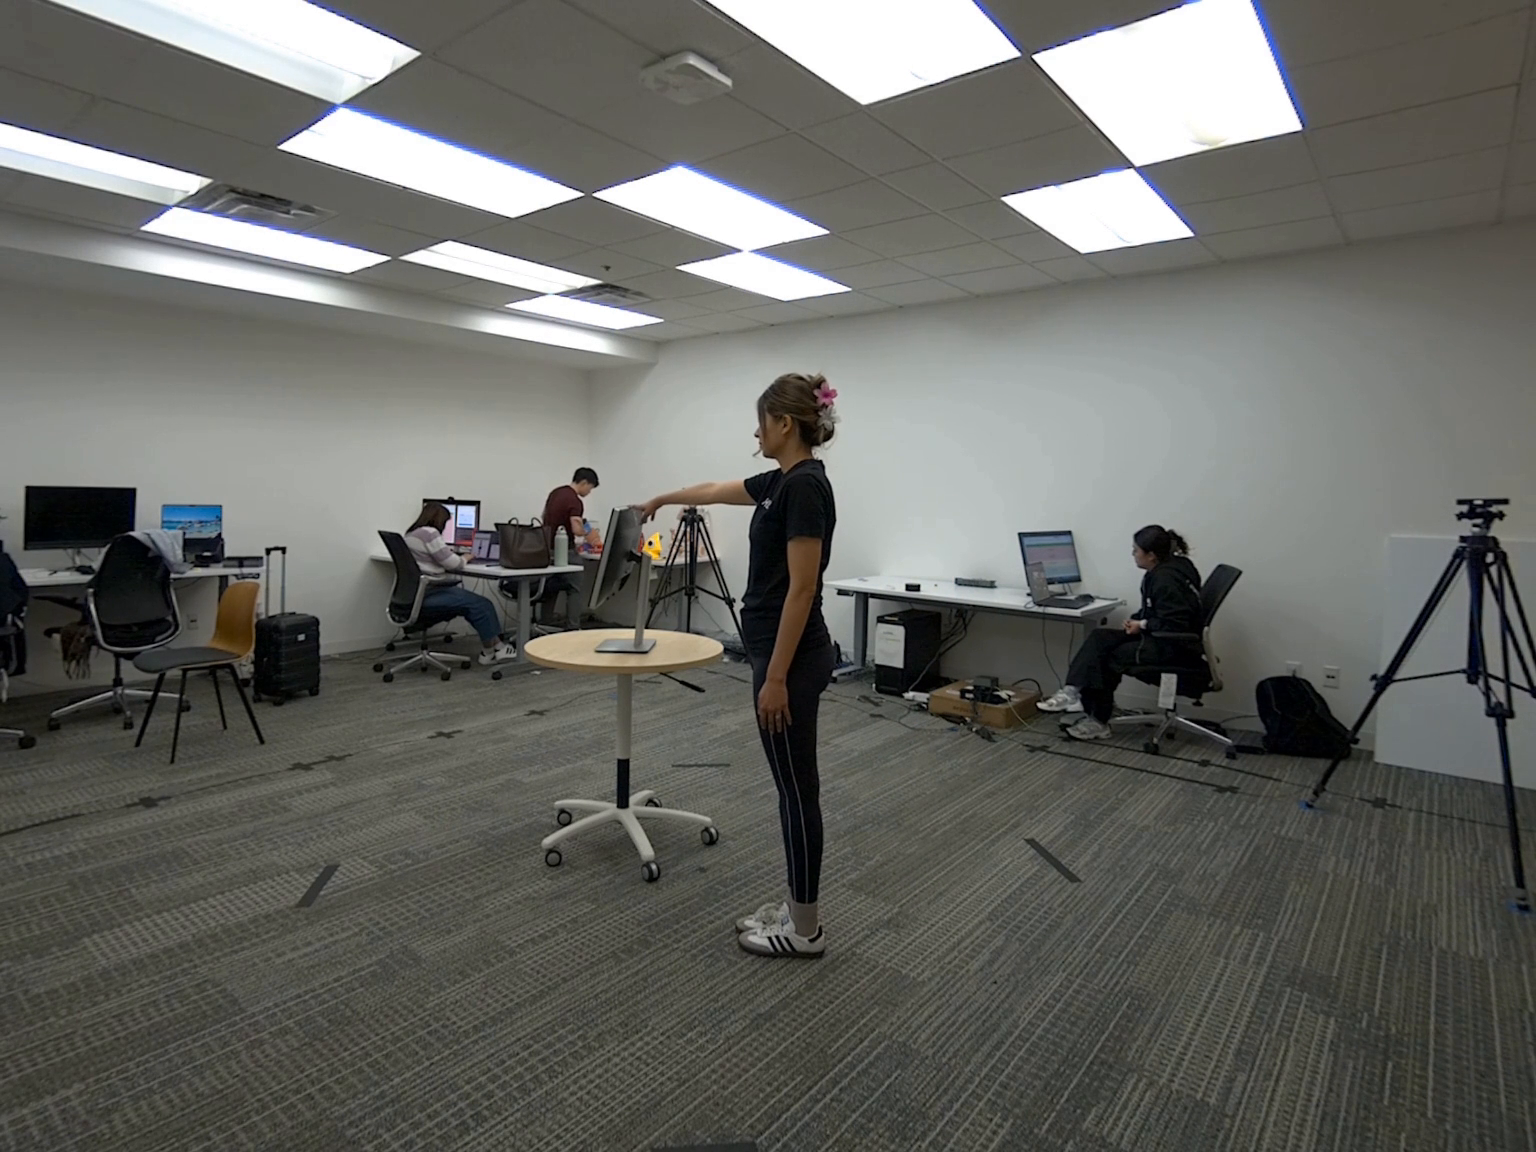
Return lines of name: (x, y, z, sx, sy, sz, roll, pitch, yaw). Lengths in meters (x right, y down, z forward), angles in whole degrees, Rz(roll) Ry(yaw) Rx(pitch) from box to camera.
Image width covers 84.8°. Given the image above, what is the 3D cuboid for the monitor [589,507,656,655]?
monitor: (-0.545, 0.010, 3.246, 0.187, 0.521, 0.540, 1, 5, 0)
